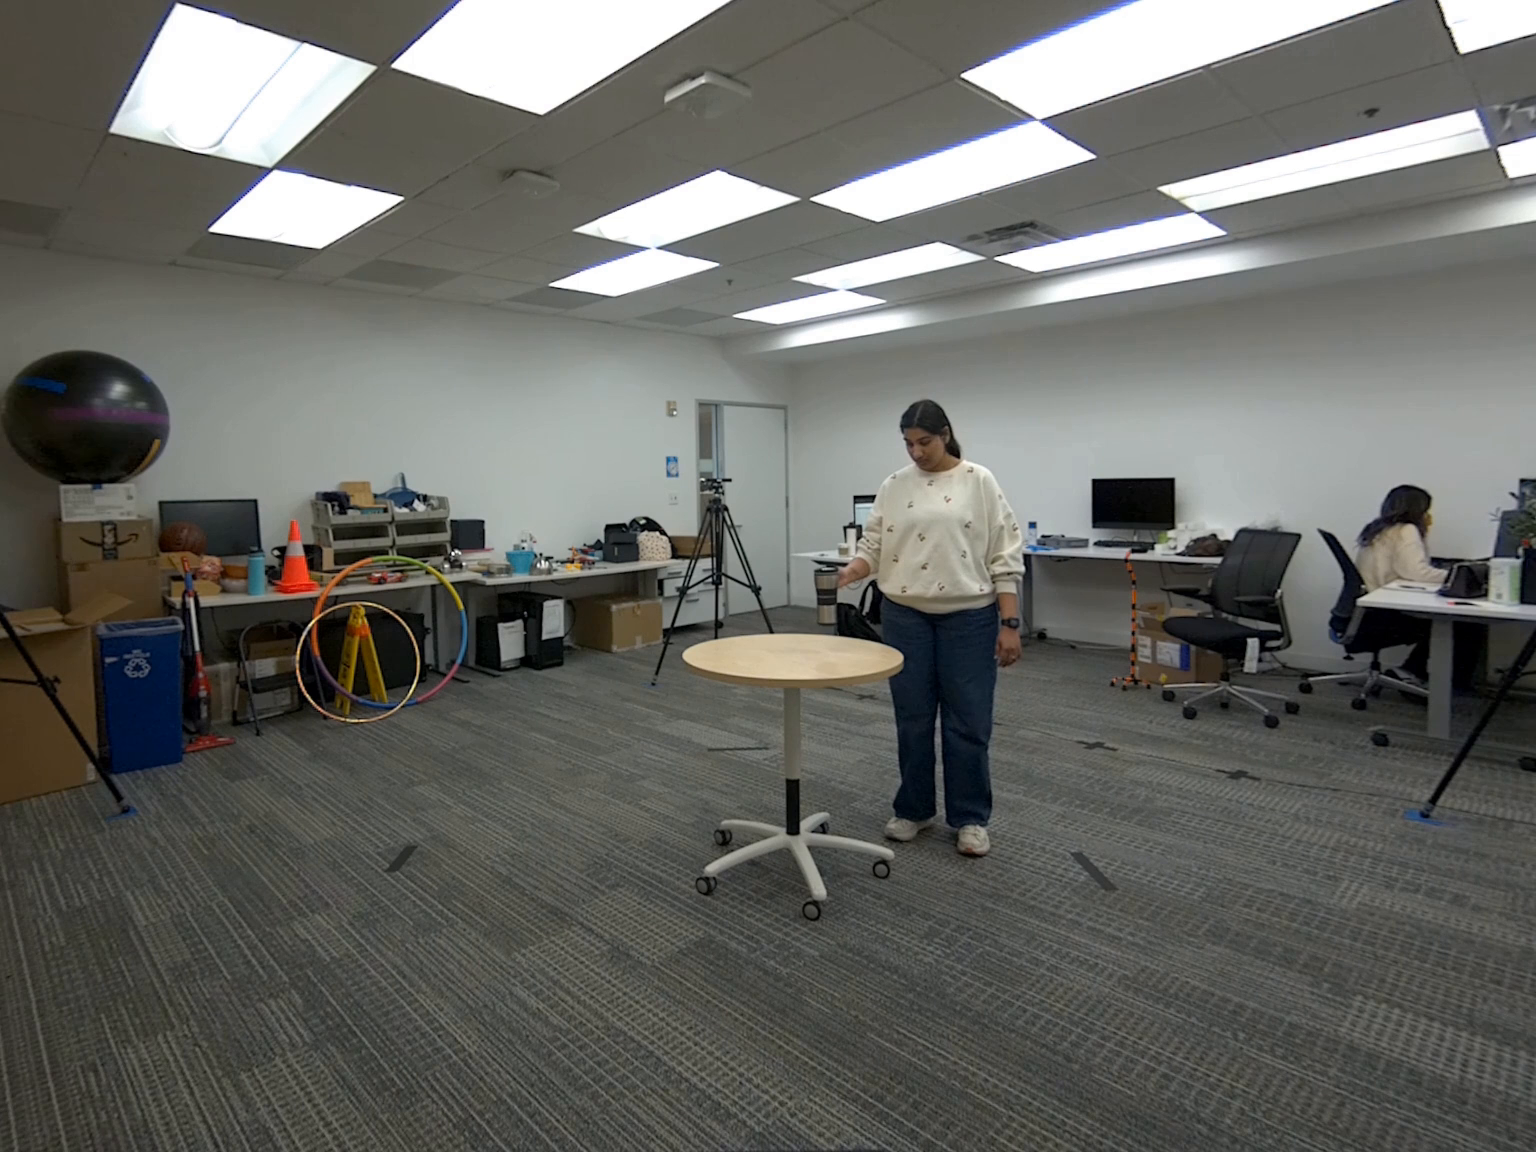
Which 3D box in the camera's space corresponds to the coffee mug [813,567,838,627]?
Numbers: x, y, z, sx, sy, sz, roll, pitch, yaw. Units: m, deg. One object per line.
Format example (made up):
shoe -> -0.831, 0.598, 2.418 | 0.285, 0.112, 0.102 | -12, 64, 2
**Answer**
coffee mug -> 0.220, 0.070, 3.014 | 0.119, 0.202, 0.090 | -9, 6, -40
